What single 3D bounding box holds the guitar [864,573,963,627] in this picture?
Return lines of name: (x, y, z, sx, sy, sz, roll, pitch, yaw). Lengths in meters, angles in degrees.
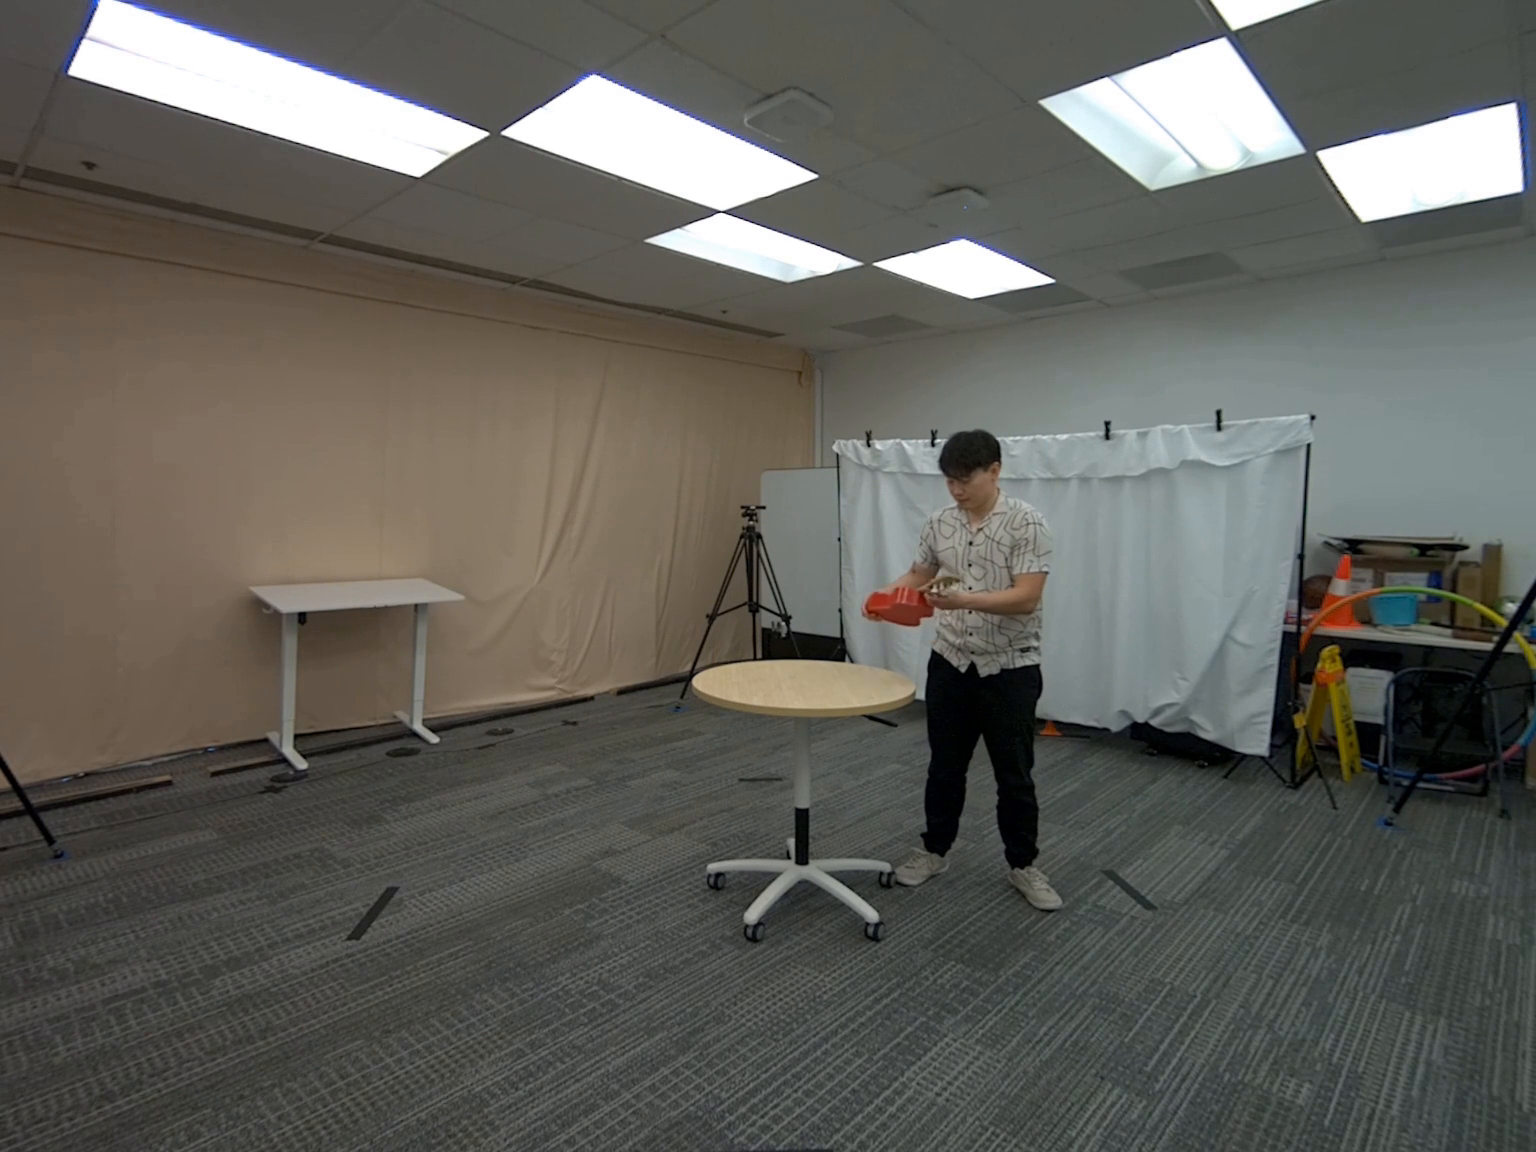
guitar: (0.482, 0.076, 2.824, 0.193, 0.071, 0.494, 15, -16, 0)
